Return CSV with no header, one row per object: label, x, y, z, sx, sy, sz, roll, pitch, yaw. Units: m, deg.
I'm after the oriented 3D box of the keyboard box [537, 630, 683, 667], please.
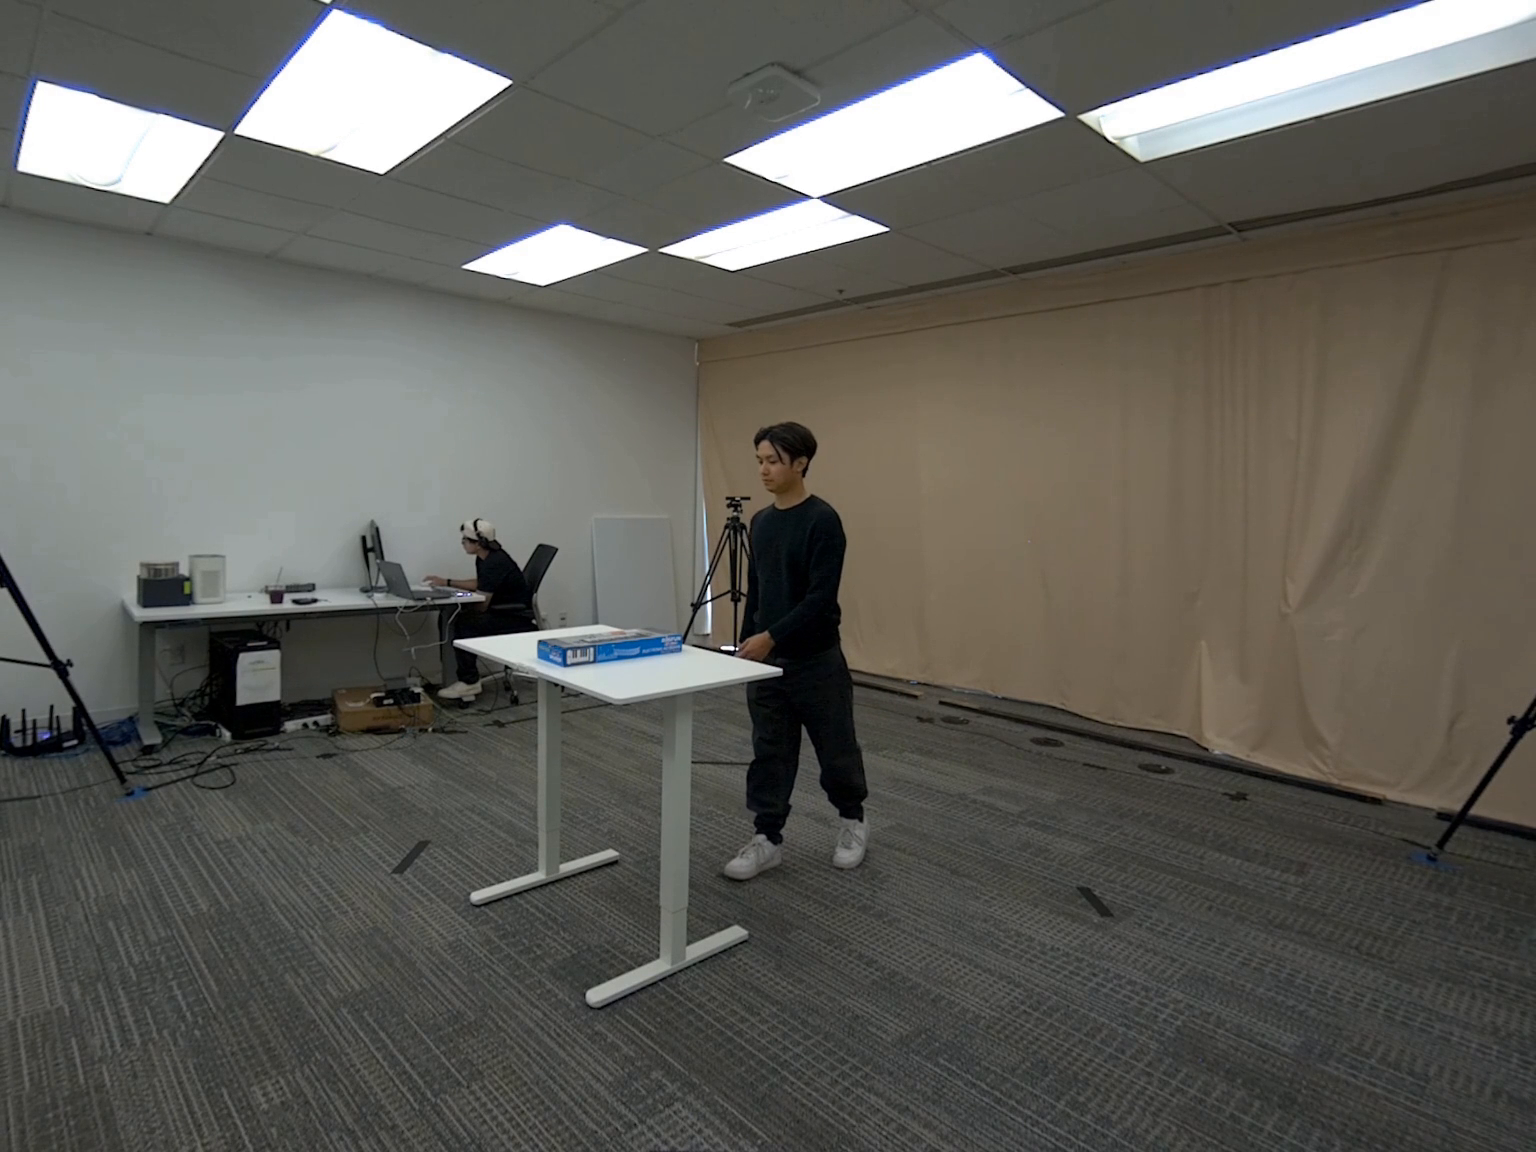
keyboard box,-0.504,0.225,2.685,0.427,0.059,0.180,-4,7,-41
